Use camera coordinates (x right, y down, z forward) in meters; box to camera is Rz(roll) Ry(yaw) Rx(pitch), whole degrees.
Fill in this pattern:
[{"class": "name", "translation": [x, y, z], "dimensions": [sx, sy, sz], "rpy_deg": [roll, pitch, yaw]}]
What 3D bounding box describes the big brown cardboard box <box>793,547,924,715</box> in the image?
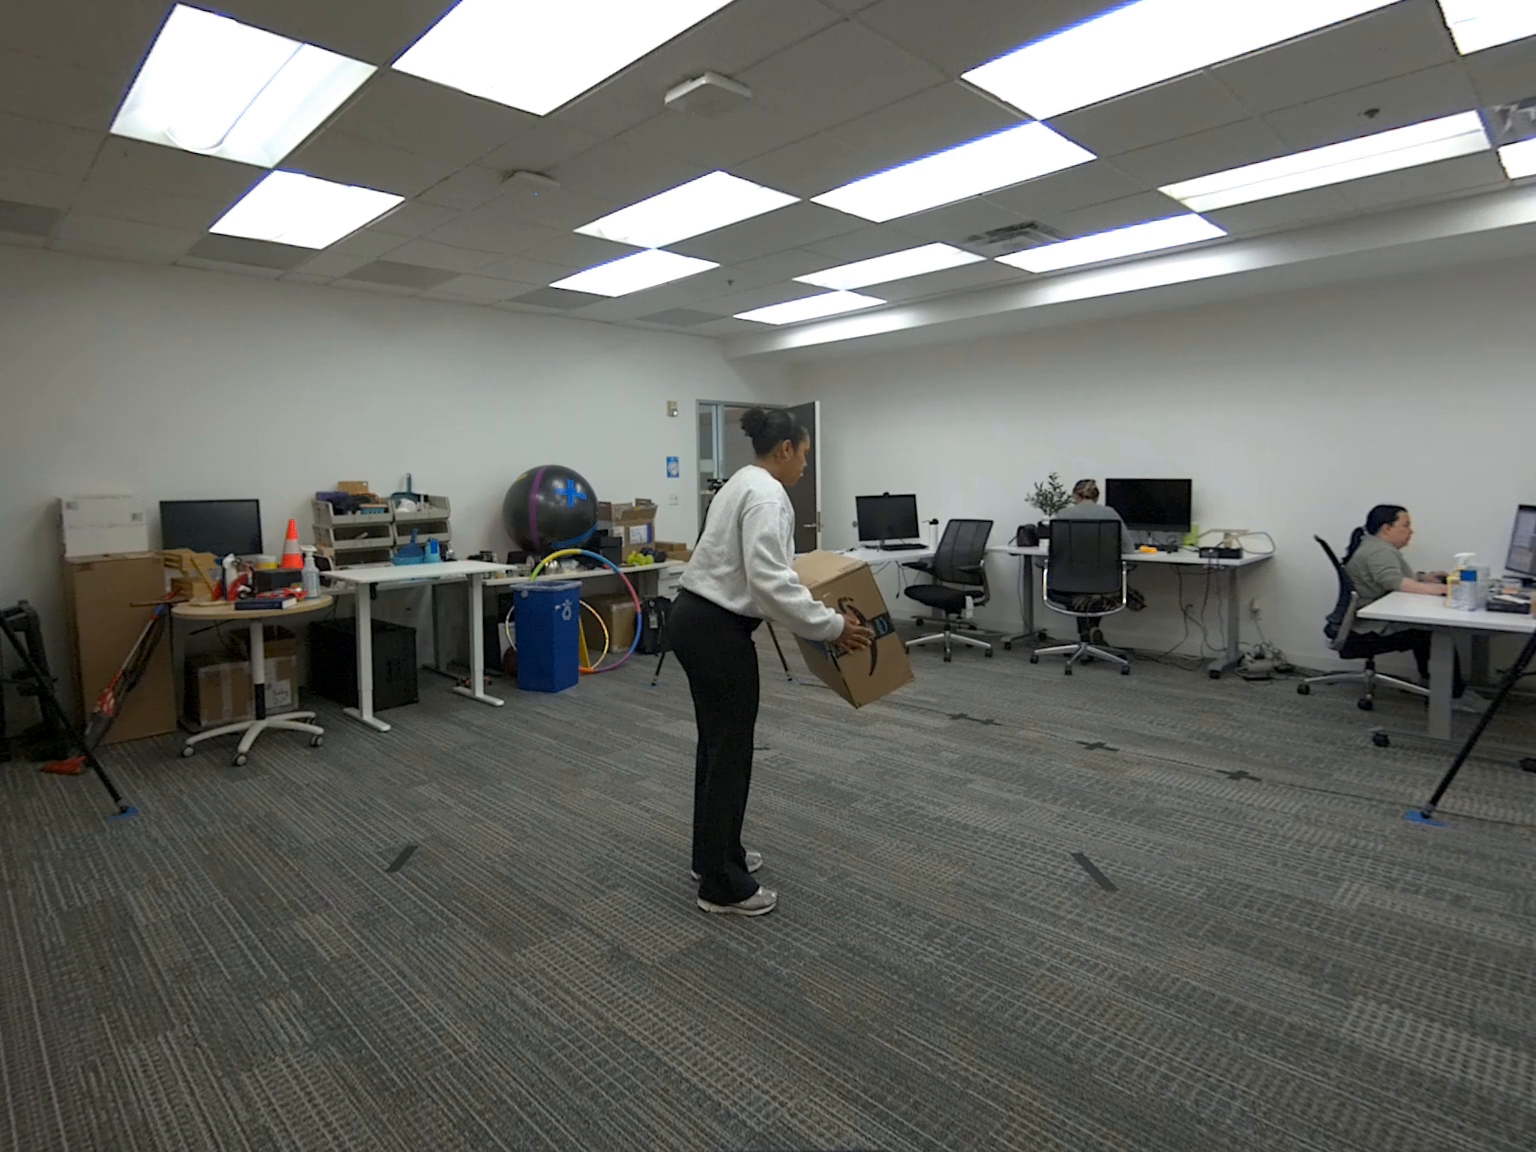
[{"class": "big brown cardboard box", "translation": [0.239, 0.160, 2.924], "dimensions": [0.232, 0.414, 0.596], "rpy_deg": [-24, 8, -8]}]
